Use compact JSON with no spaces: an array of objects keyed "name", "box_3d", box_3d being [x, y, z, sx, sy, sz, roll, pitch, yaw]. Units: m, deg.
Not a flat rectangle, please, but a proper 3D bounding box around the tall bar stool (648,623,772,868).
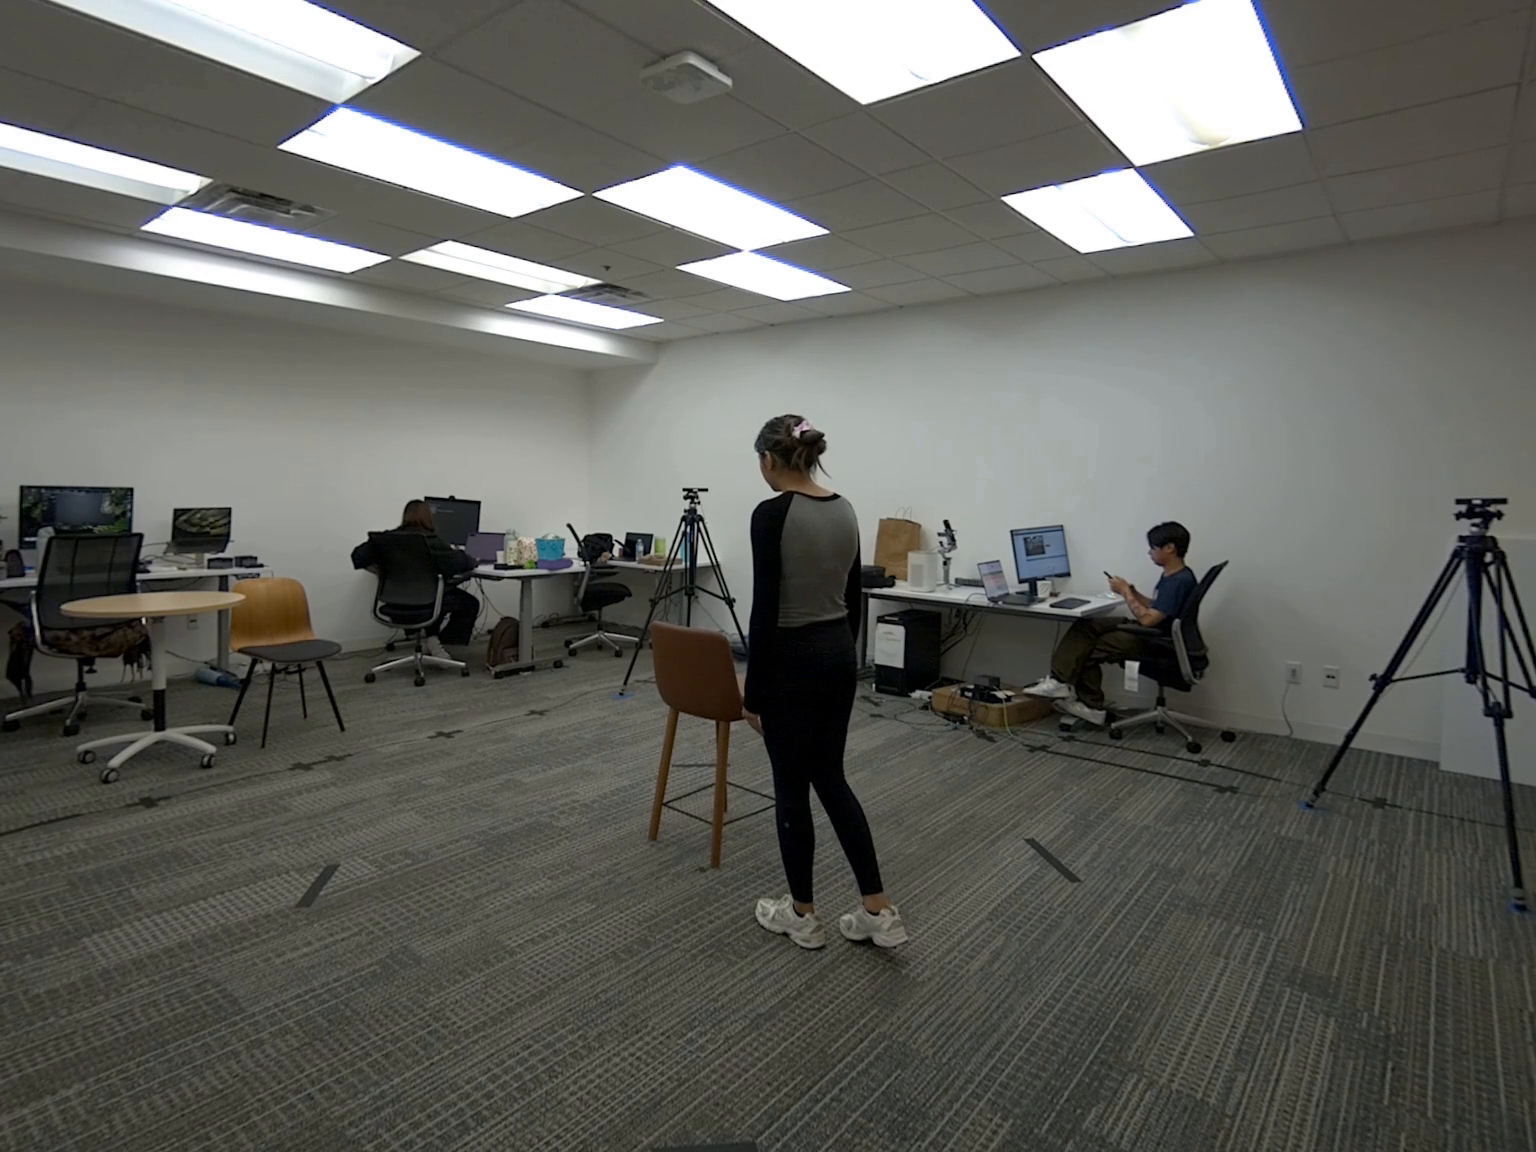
[{"name":"tall bar stool","box_3d":[-0.199,0.608,3.380,0.472,0.886,0.454,3,5,41]}]
